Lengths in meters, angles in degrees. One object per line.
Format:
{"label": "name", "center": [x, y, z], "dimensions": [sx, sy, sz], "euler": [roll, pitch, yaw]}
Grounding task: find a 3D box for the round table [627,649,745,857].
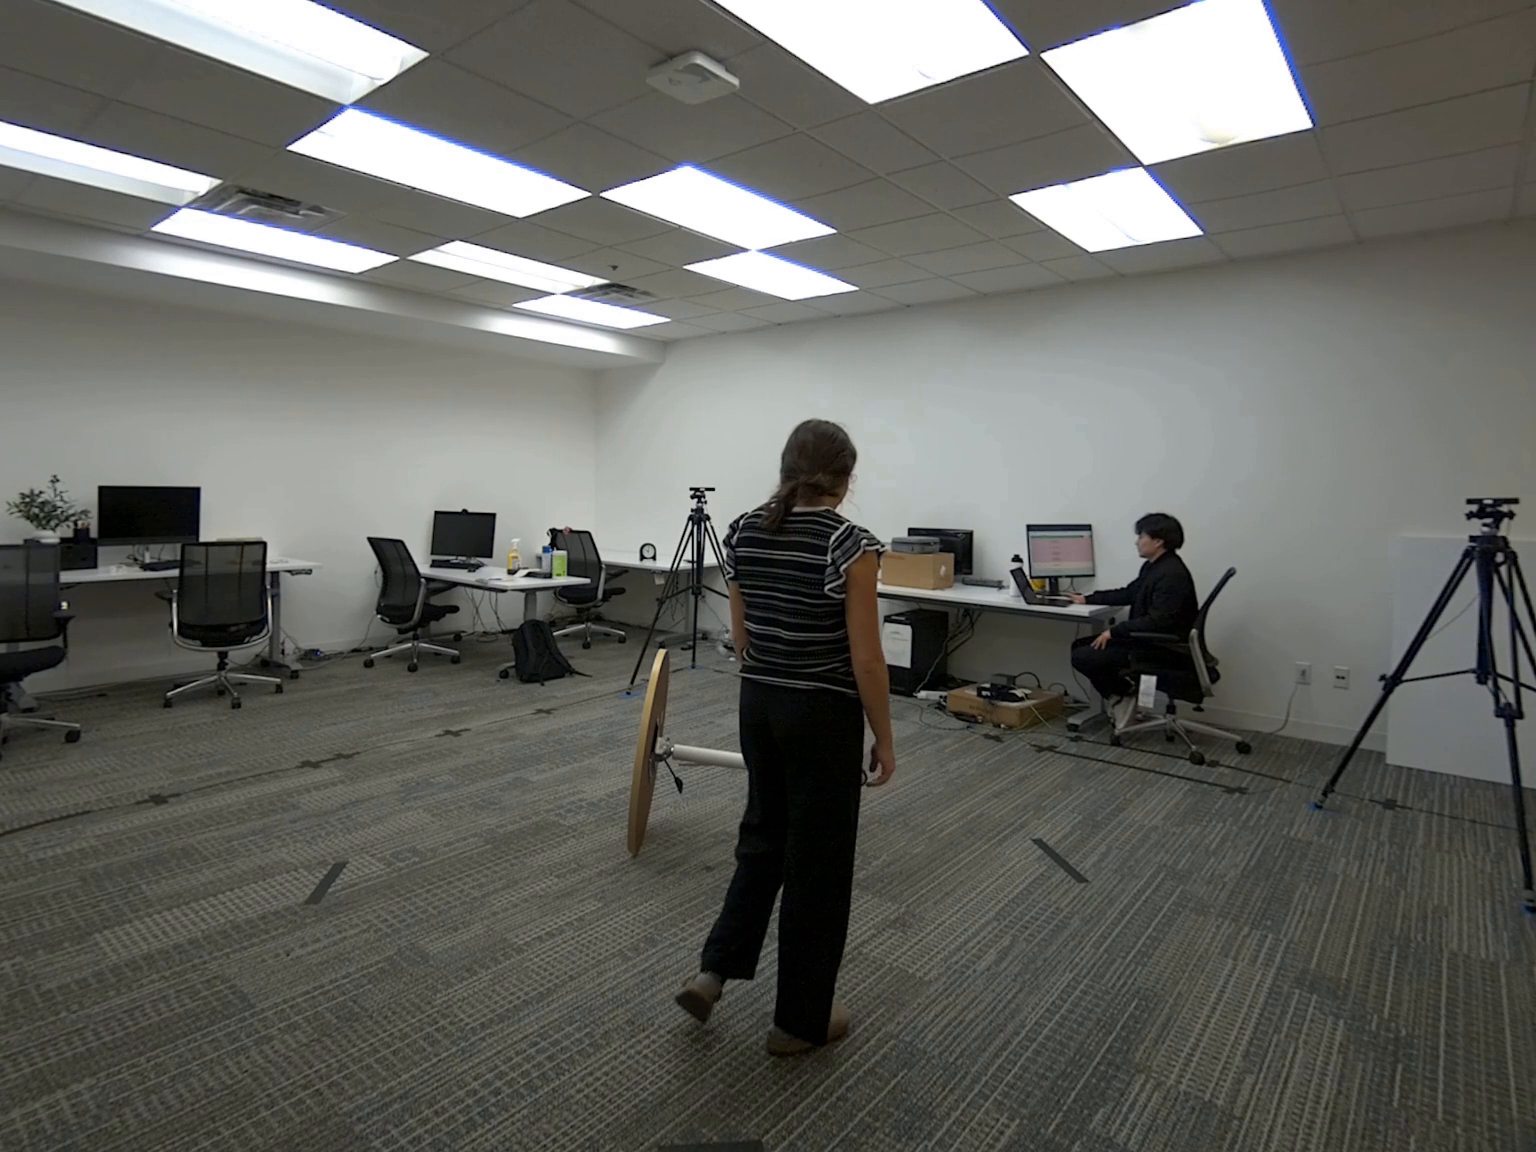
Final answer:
{"label": "round table", "center": [-0.086, 0.712, 3.276], "dimensions": [0.788, 0.783, 0.786], "euler": [7, 4, 0]}
